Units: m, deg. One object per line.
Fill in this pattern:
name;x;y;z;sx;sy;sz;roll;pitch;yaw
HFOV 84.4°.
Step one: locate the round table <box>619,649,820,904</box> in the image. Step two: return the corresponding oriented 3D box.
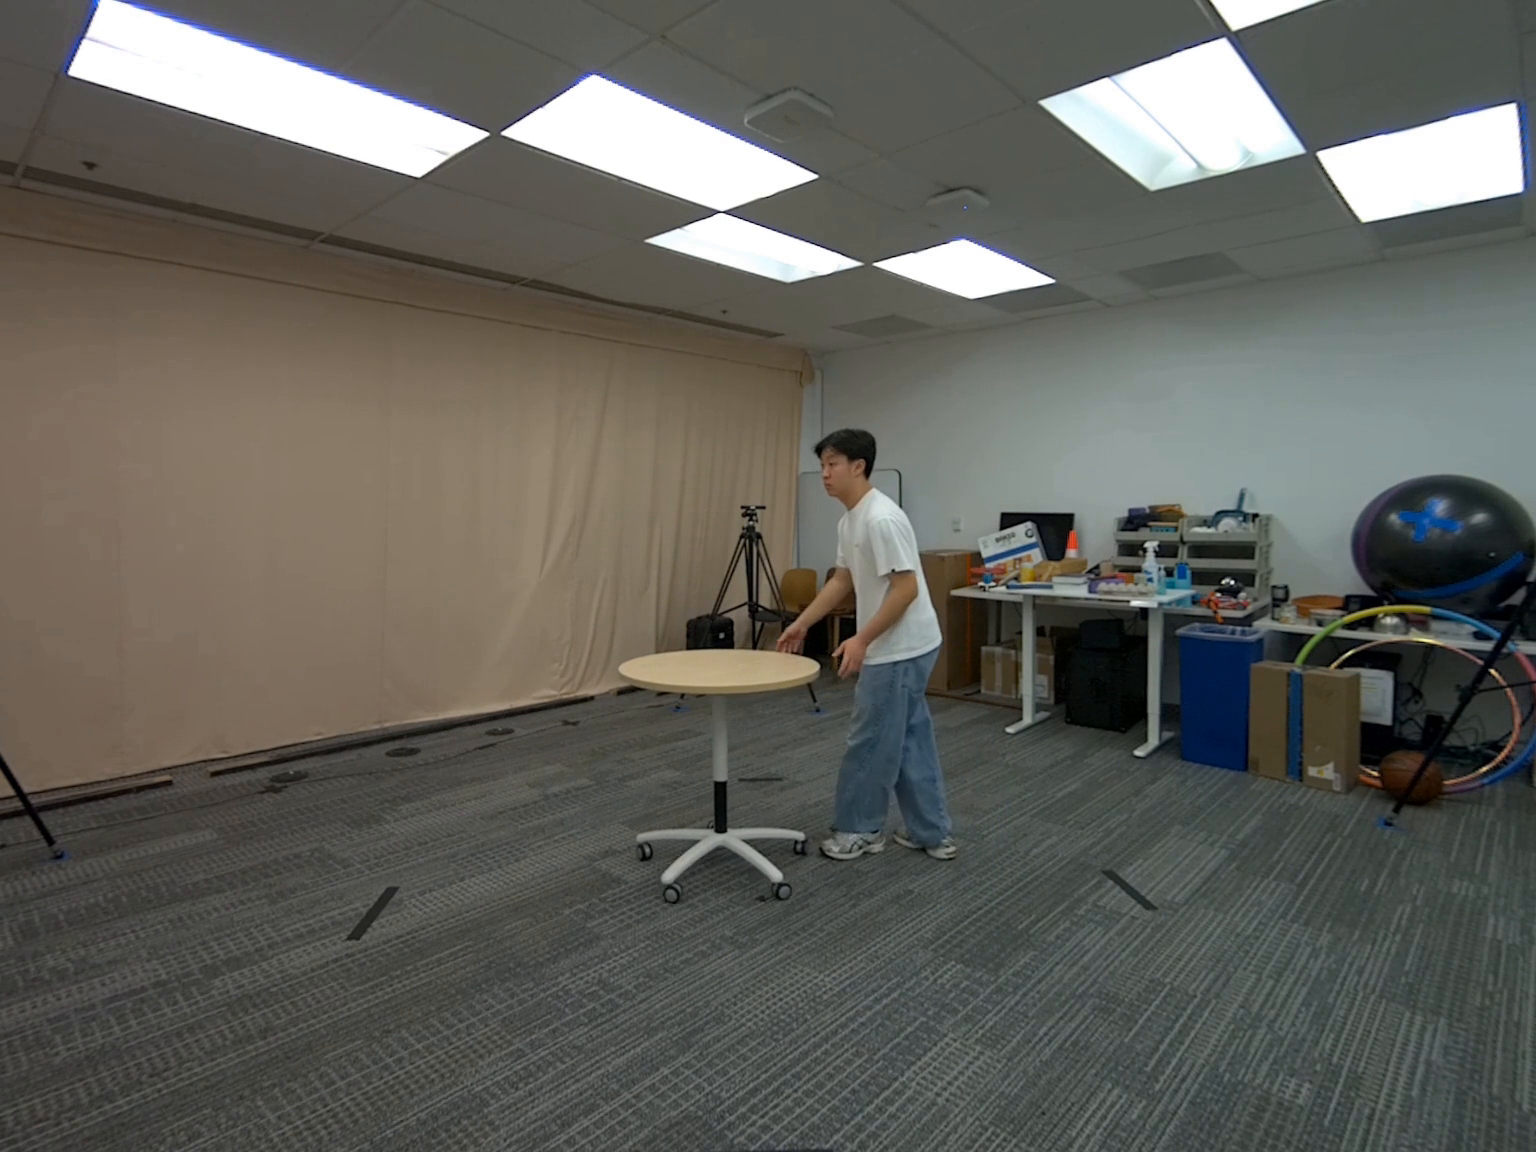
round table;-0.176;0.731;3.240;0.784;0.785;0.788;0;4;-2
